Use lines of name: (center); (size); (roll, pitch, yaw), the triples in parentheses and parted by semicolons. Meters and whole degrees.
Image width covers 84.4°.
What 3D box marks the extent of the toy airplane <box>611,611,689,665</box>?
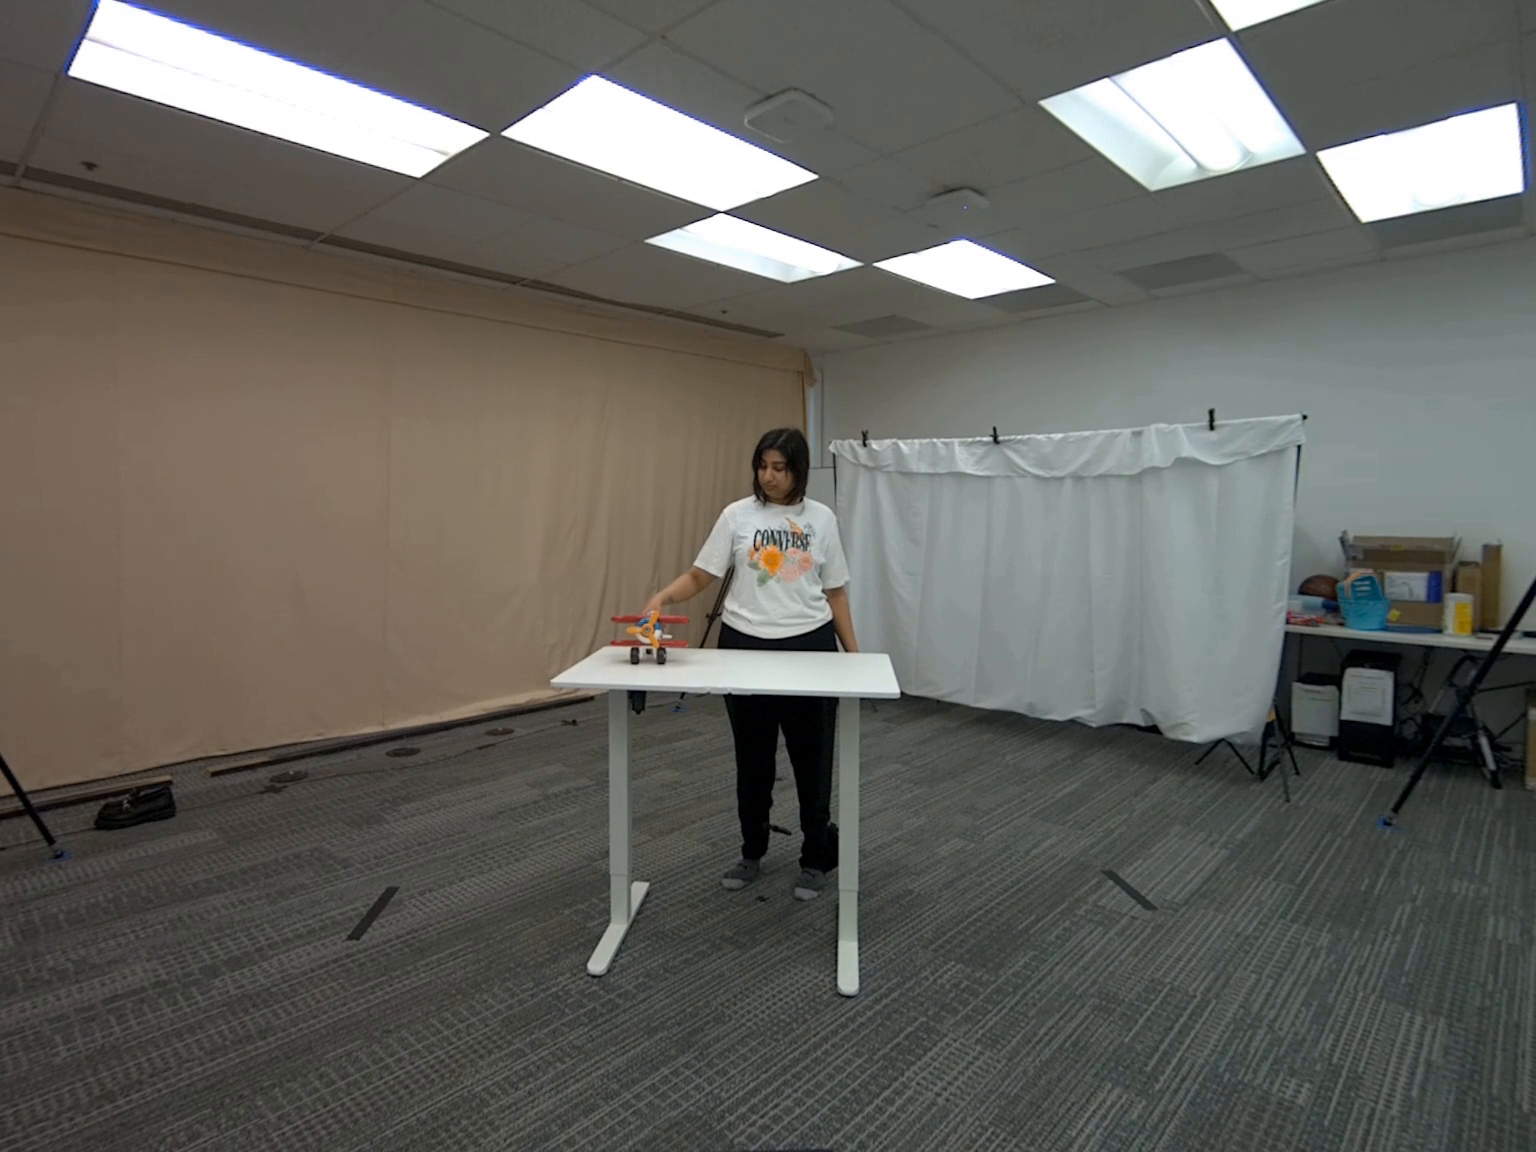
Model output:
toy airplane: (-0.406, 0.200, 2.787); (0.245, 0.156, 0.266); (-4, 8, -26)
